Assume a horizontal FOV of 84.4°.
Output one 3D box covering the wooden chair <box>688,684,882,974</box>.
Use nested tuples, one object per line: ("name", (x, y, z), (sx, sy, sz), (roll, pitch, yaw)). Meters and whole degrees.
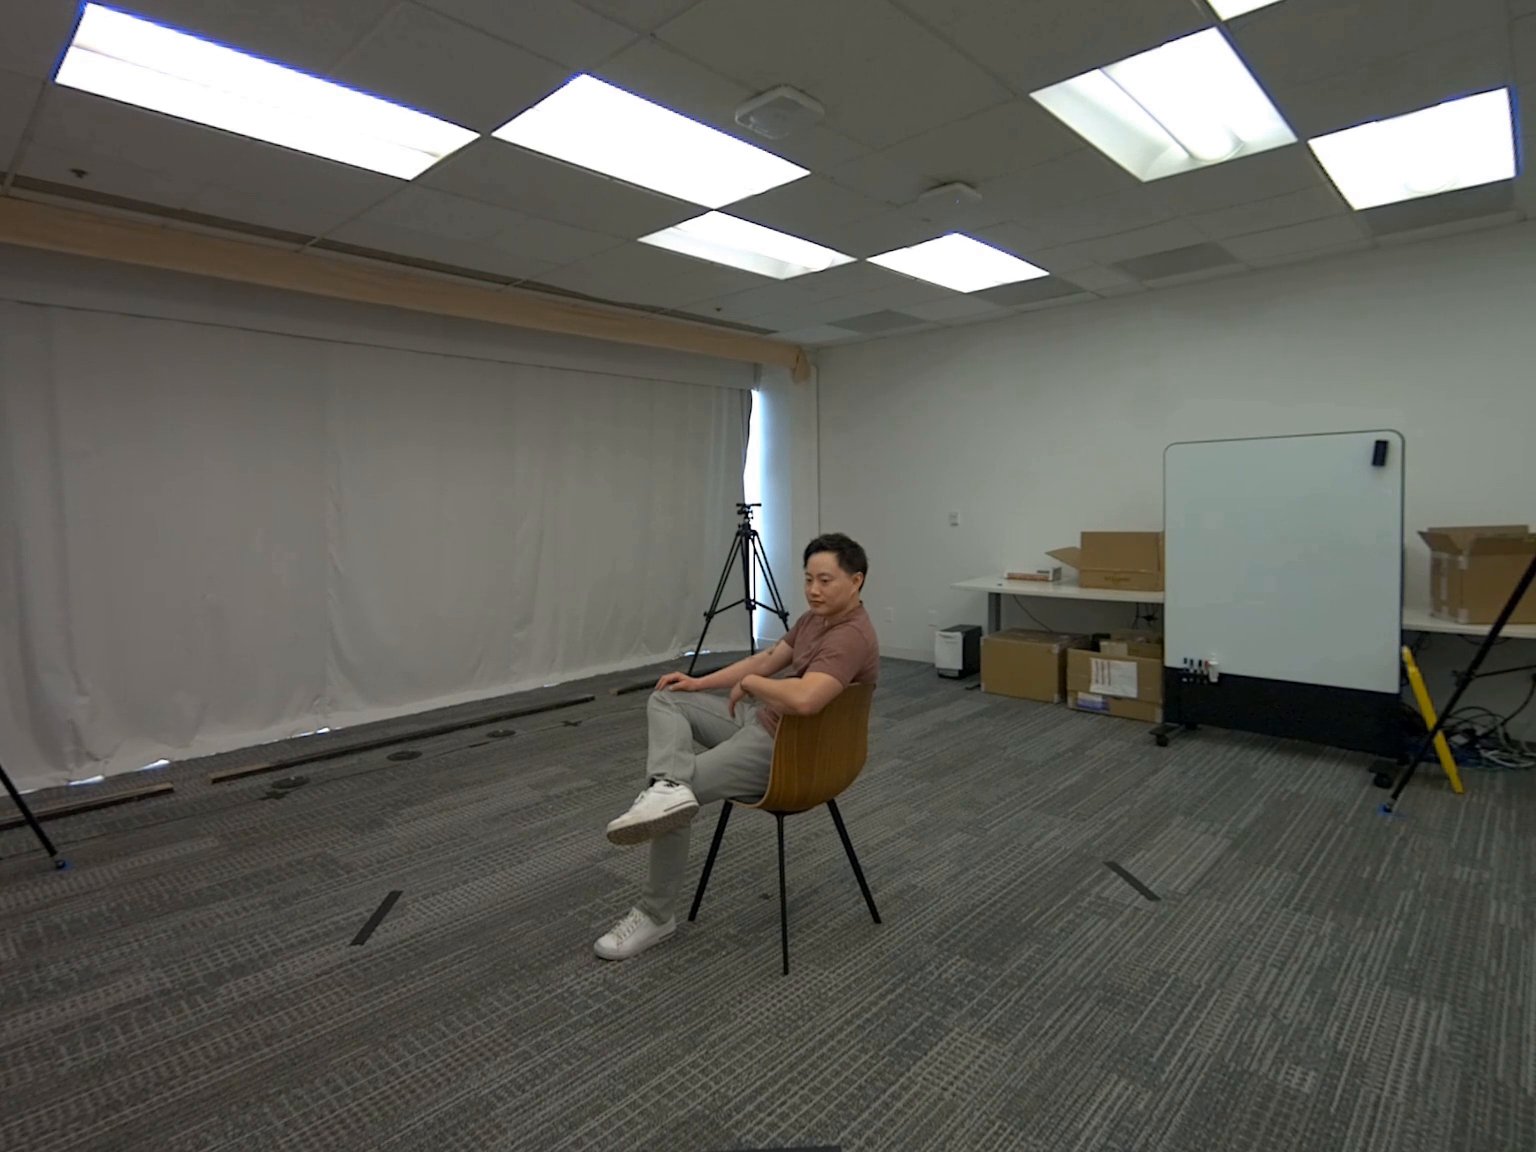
("wooden chair", (0.047, 0.726, 2.778), (0.463, 0.874, 0.541), (-4, 9, -43))
